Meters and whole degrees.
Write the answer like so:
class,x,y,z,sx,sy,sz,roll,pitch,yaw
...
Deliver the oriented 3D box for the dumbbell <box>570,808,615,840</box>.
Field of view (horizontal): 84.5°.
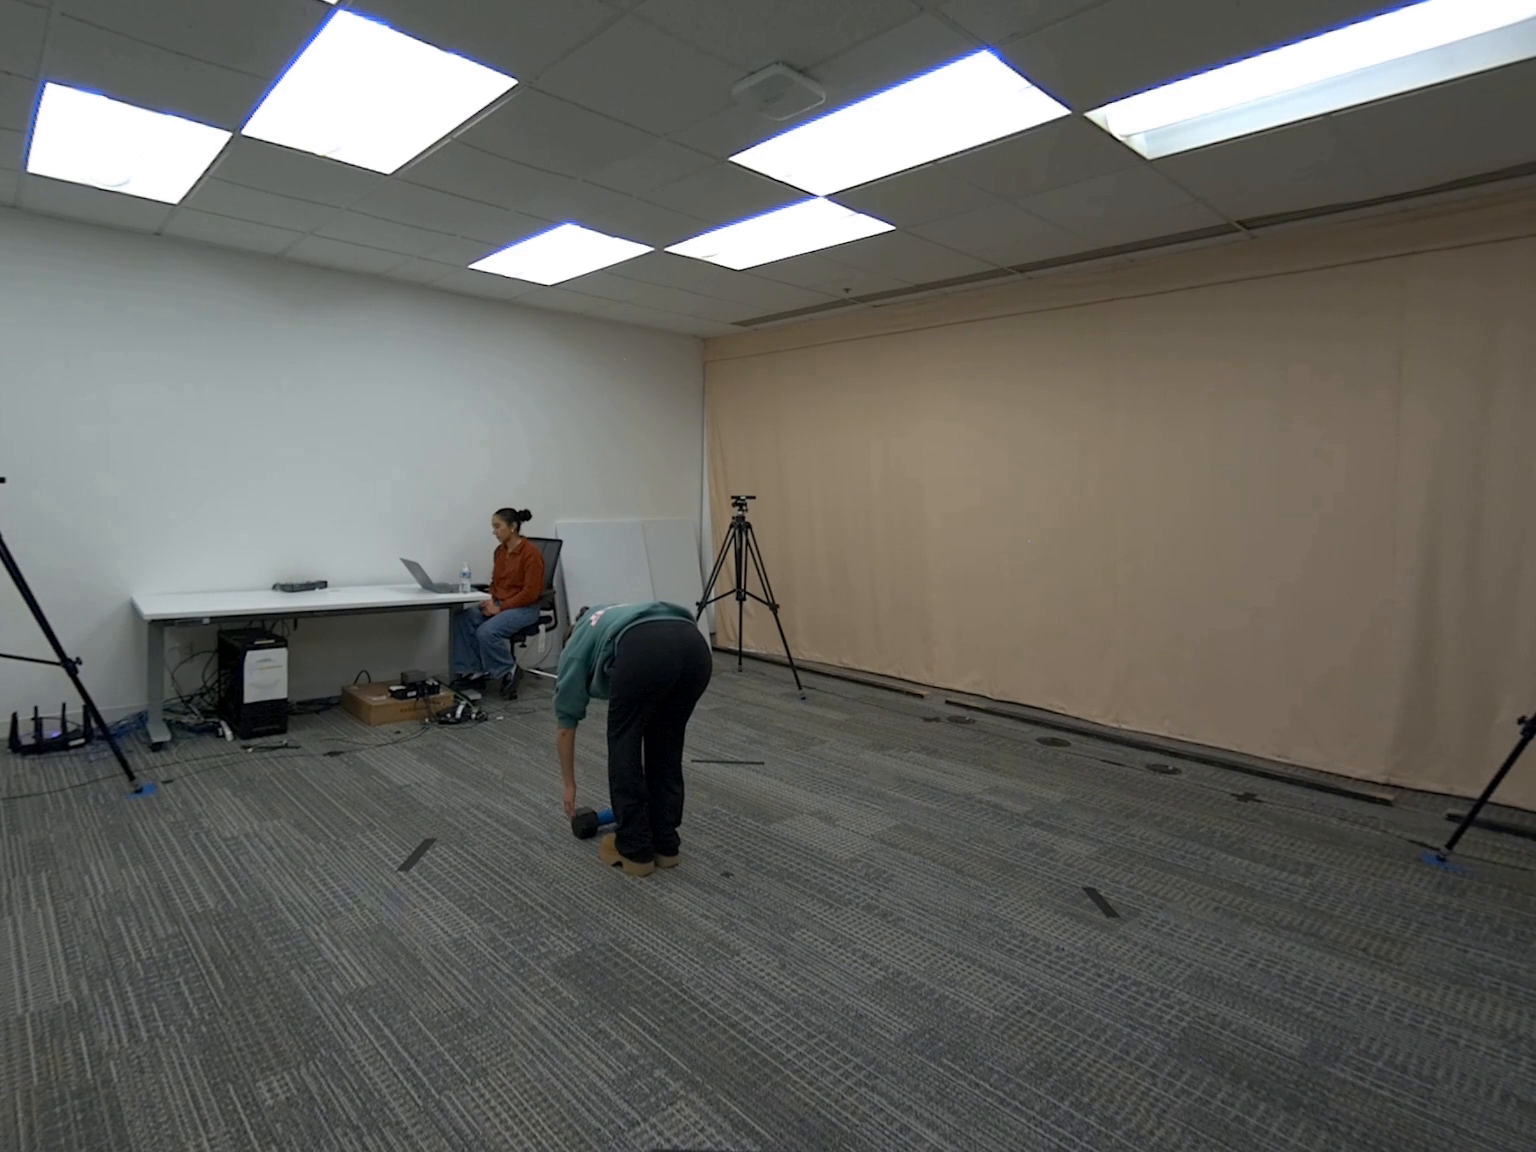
class,x,y,z,sx,sy,sz,roll,pitch,yaw
dumbbell,-0.677,1.001,3.493,0.287,0.125,0.109,-4,-25,-38
